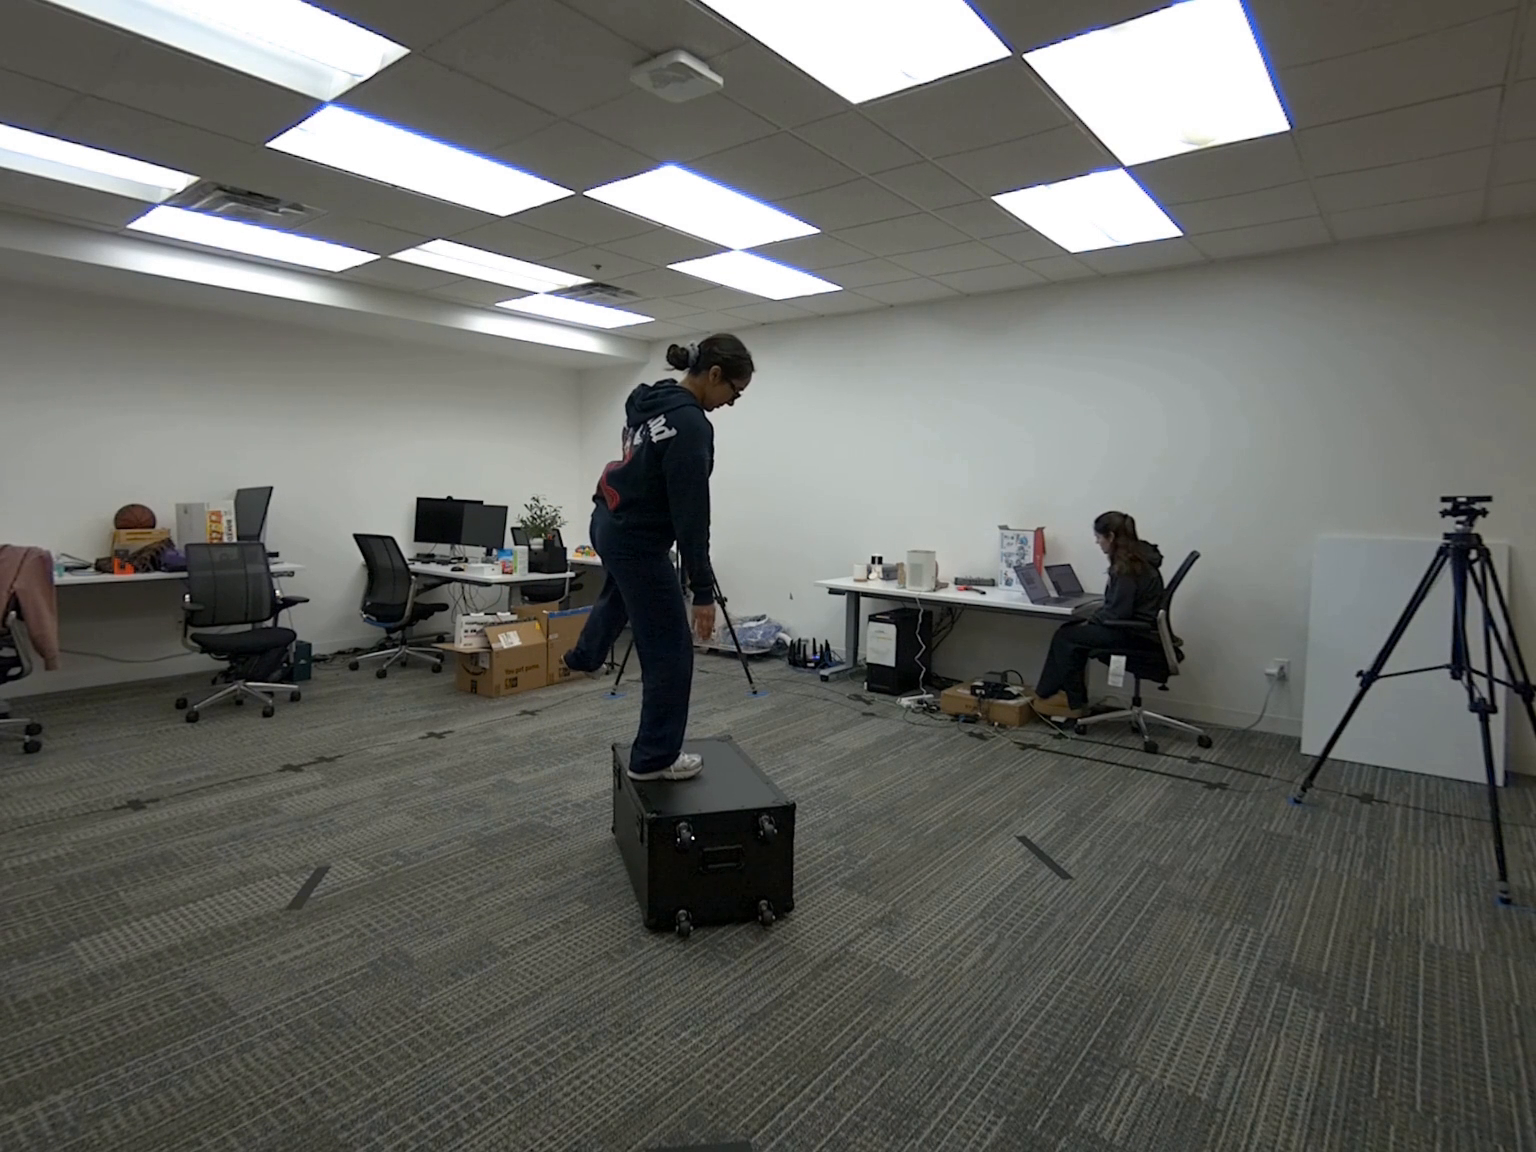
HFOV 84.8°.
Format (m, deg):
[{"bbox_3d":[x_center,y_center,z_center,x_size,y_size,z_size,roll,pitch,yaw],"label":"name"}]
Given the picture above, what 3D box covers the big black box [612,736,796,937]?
[{"bbox_3d":[-0.264,0.883,3.017,0.512,0.395,0.880,-1,5,-18],"label":"big black box"}]
